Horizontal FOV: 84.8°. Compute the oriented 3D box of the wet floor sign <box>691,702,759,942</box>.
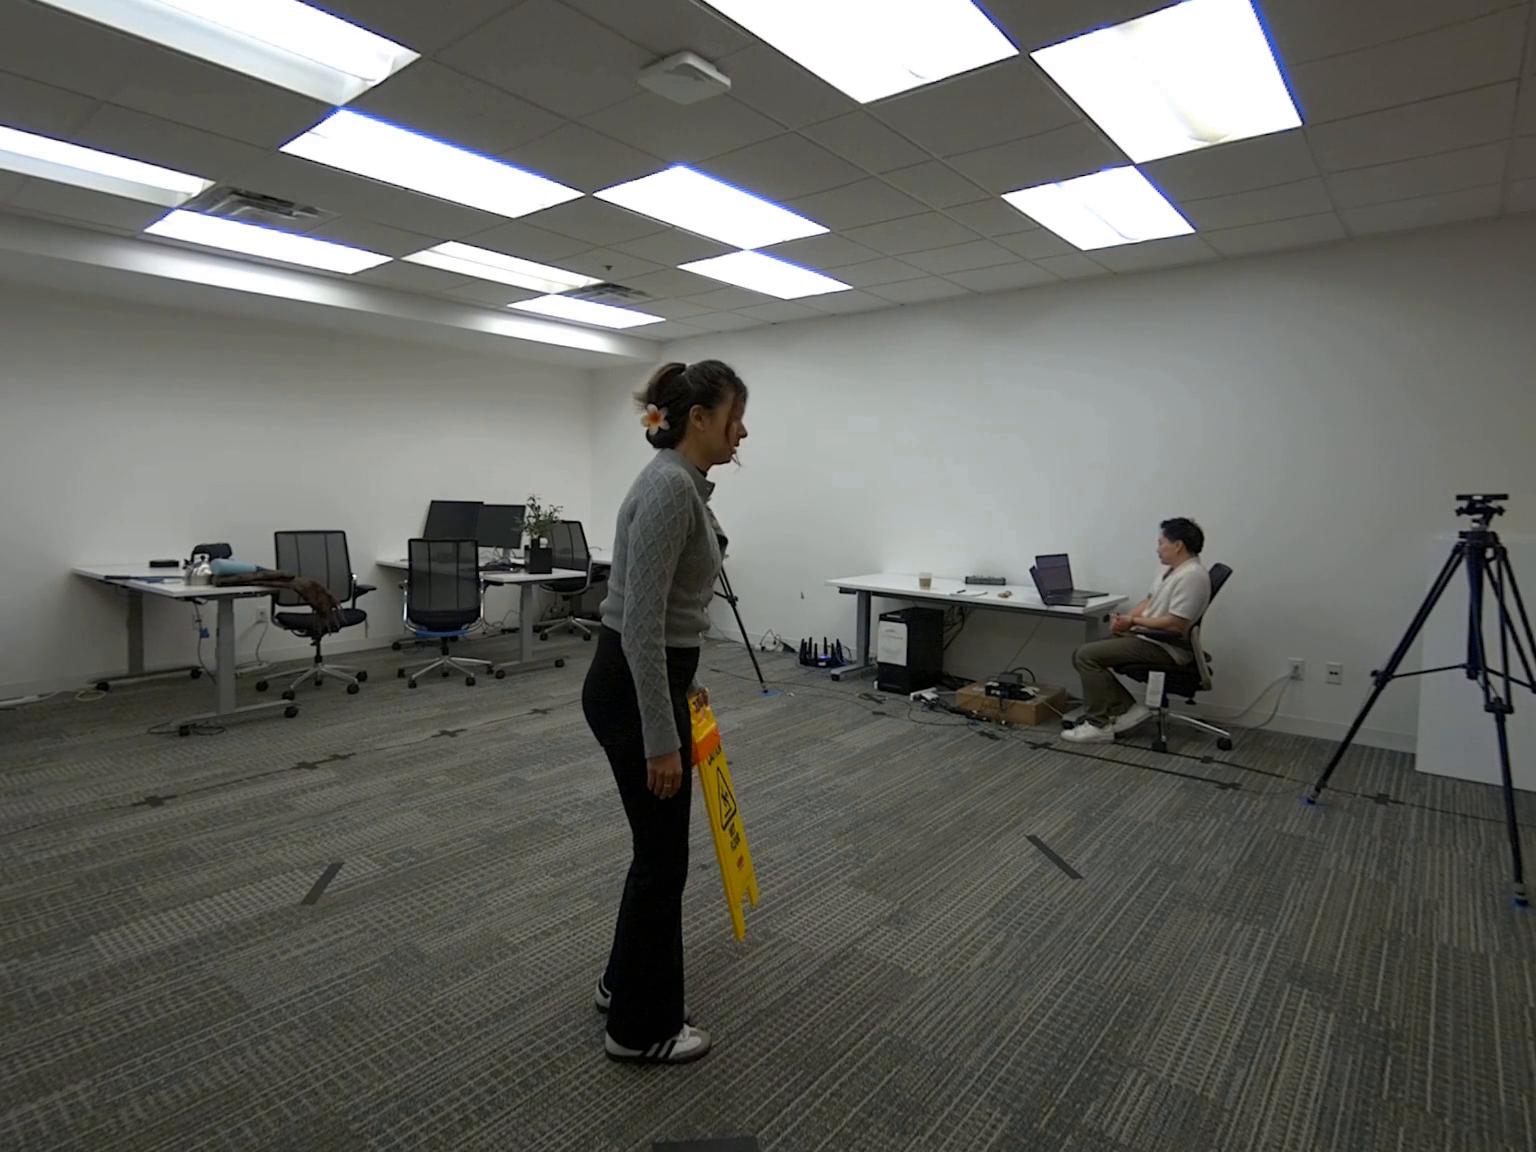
[{"bbox_3d":[-0.207,0.665,2.465,0.294,0.644,0.279,0,3,12],"label":"wet floor sign"}]
